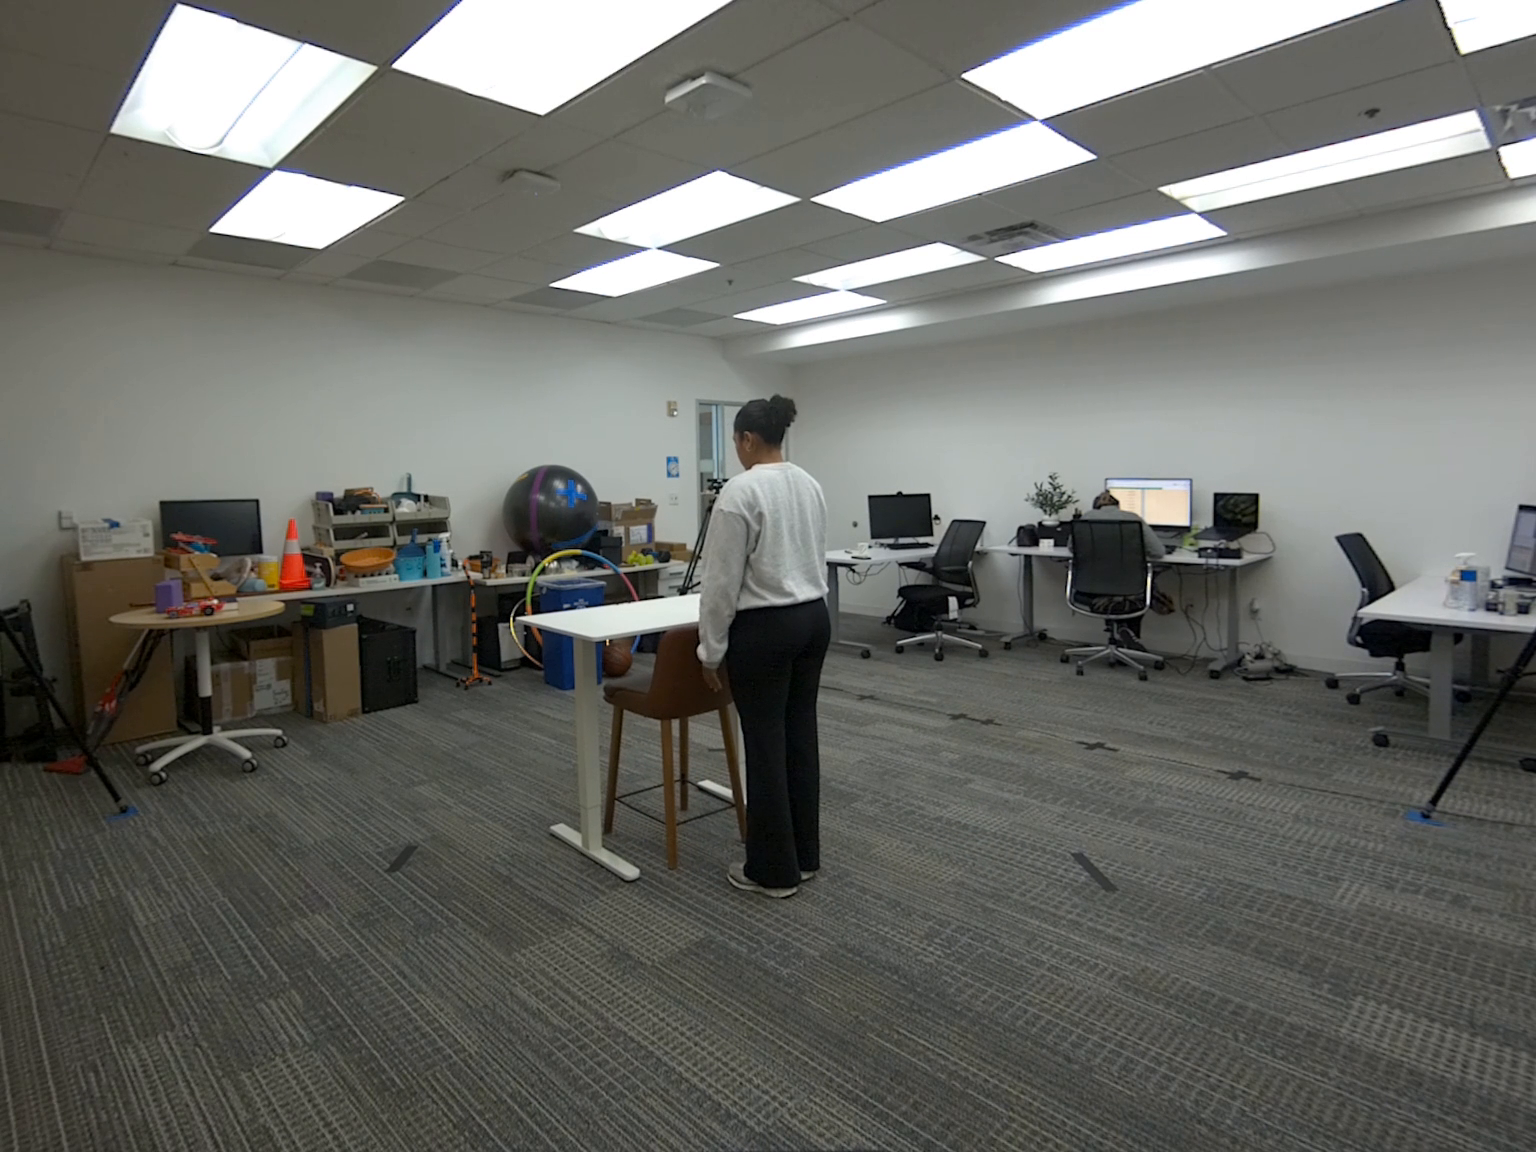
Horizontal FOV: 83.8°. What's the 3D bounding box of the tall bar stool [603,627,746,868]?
[{"bbox_3d":[-0.353,0.592,3.318,0.444,0.885,0.482,-5,8,-40],"label":"tall bar stool"}]
